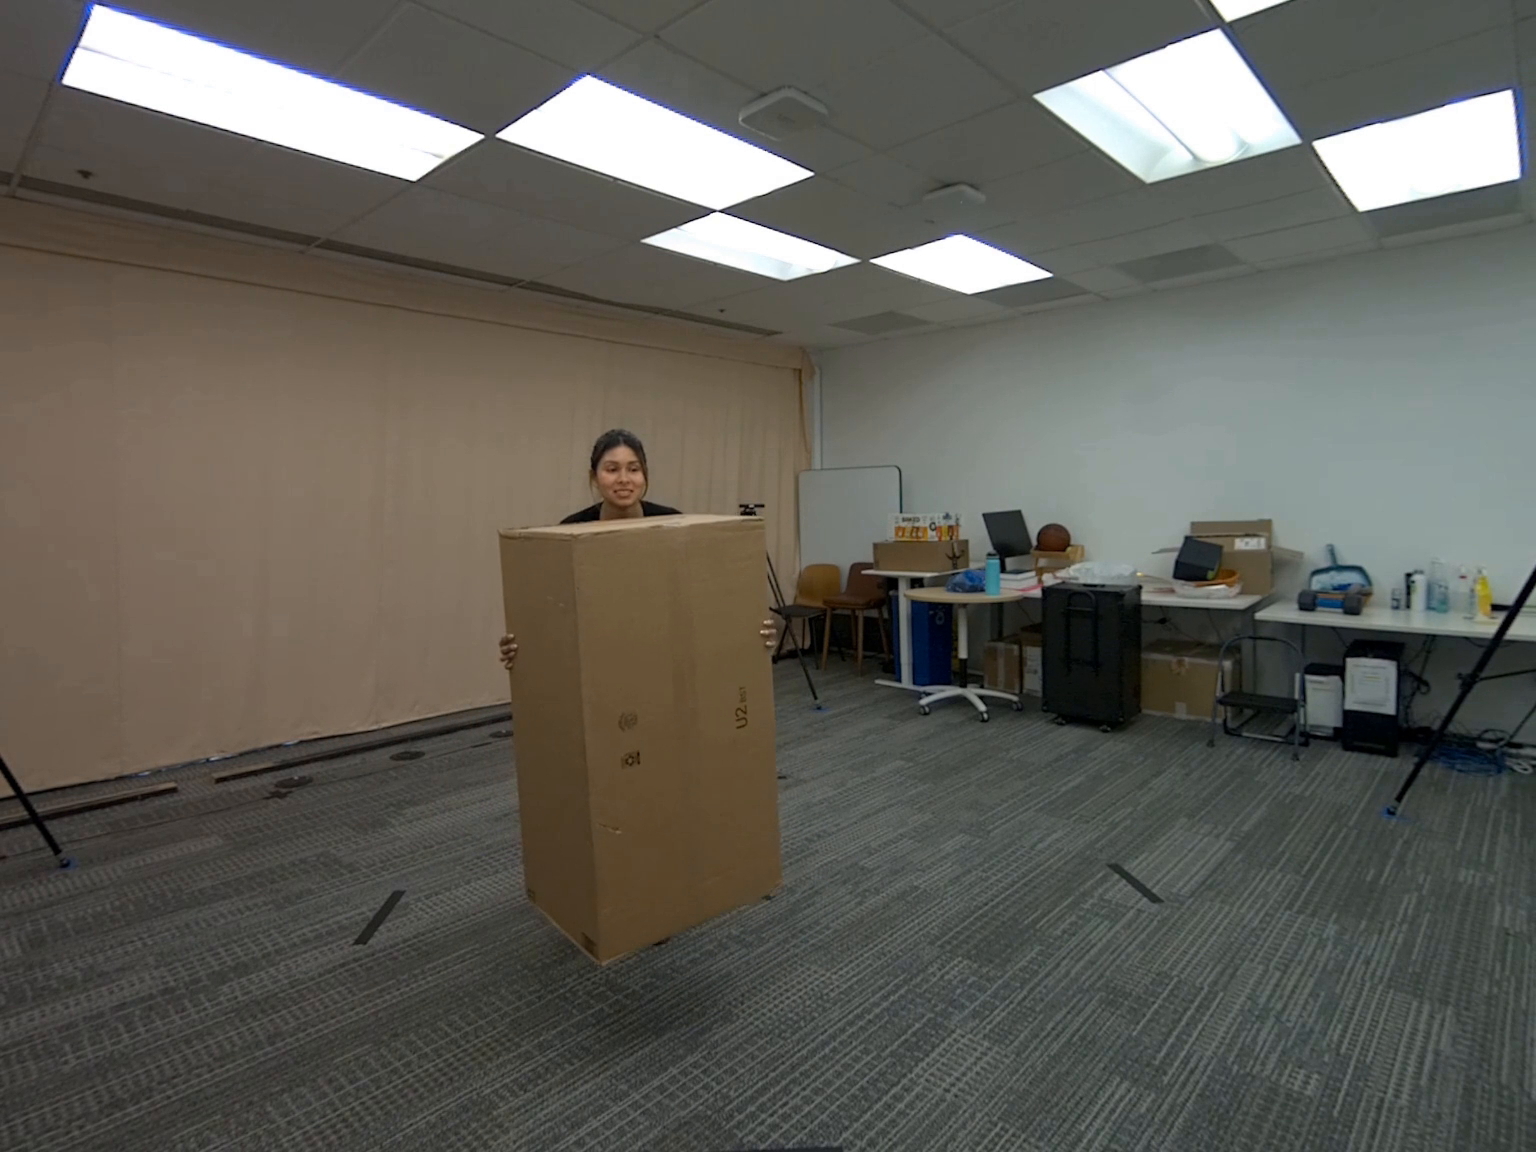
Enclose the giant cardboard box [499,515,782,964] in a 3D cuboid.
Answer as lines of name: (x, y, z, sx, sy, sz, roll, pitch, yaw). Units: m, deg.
giant cardboard box: (-0.331, 0.372, 2.260, 0.561, 1.022, 0.440, -6, 7, -38)
